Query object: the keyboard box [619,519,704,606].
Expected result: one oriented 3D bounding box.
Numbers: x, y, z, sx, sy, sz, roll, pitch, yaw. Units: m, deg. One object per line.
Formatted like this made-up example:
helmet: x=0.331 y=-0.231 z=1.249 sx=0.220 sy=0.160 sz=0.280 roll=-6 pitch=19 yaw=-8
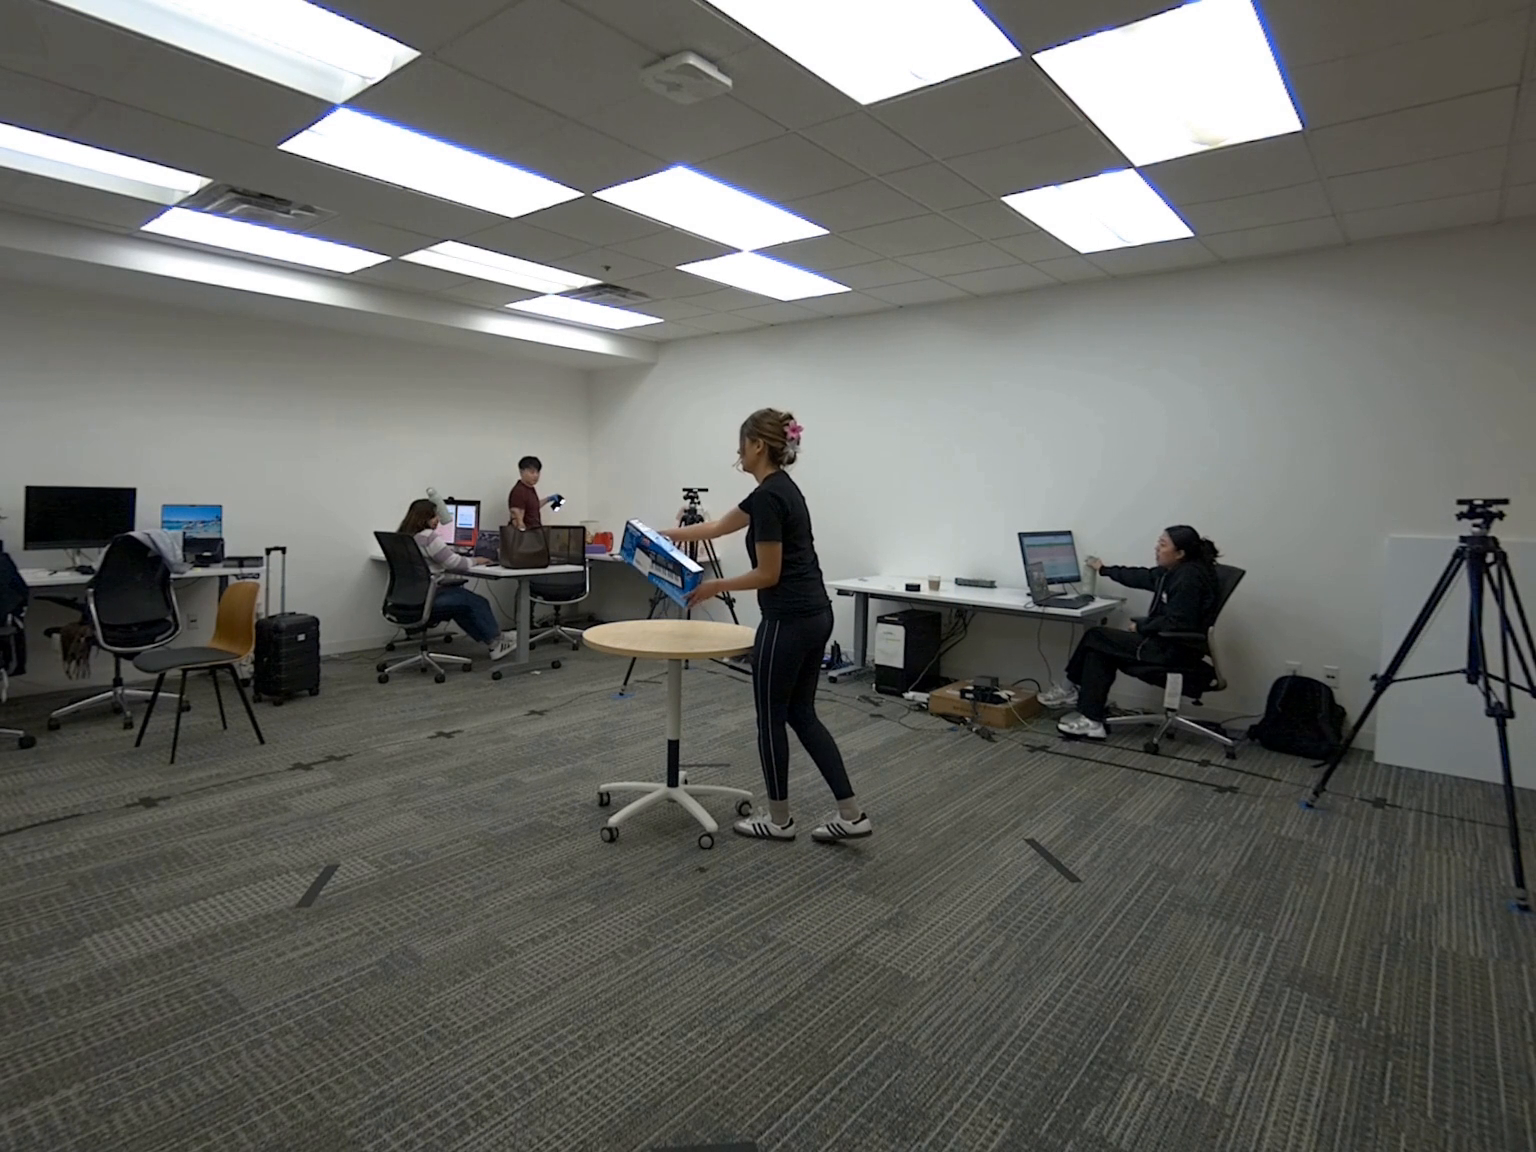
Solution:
keyboard box: x=-0.454 y=-0.058 z=3.501 sx=0.454 sy=0.173 sz=0.058 roll=36 pitch=32 yaw=32
